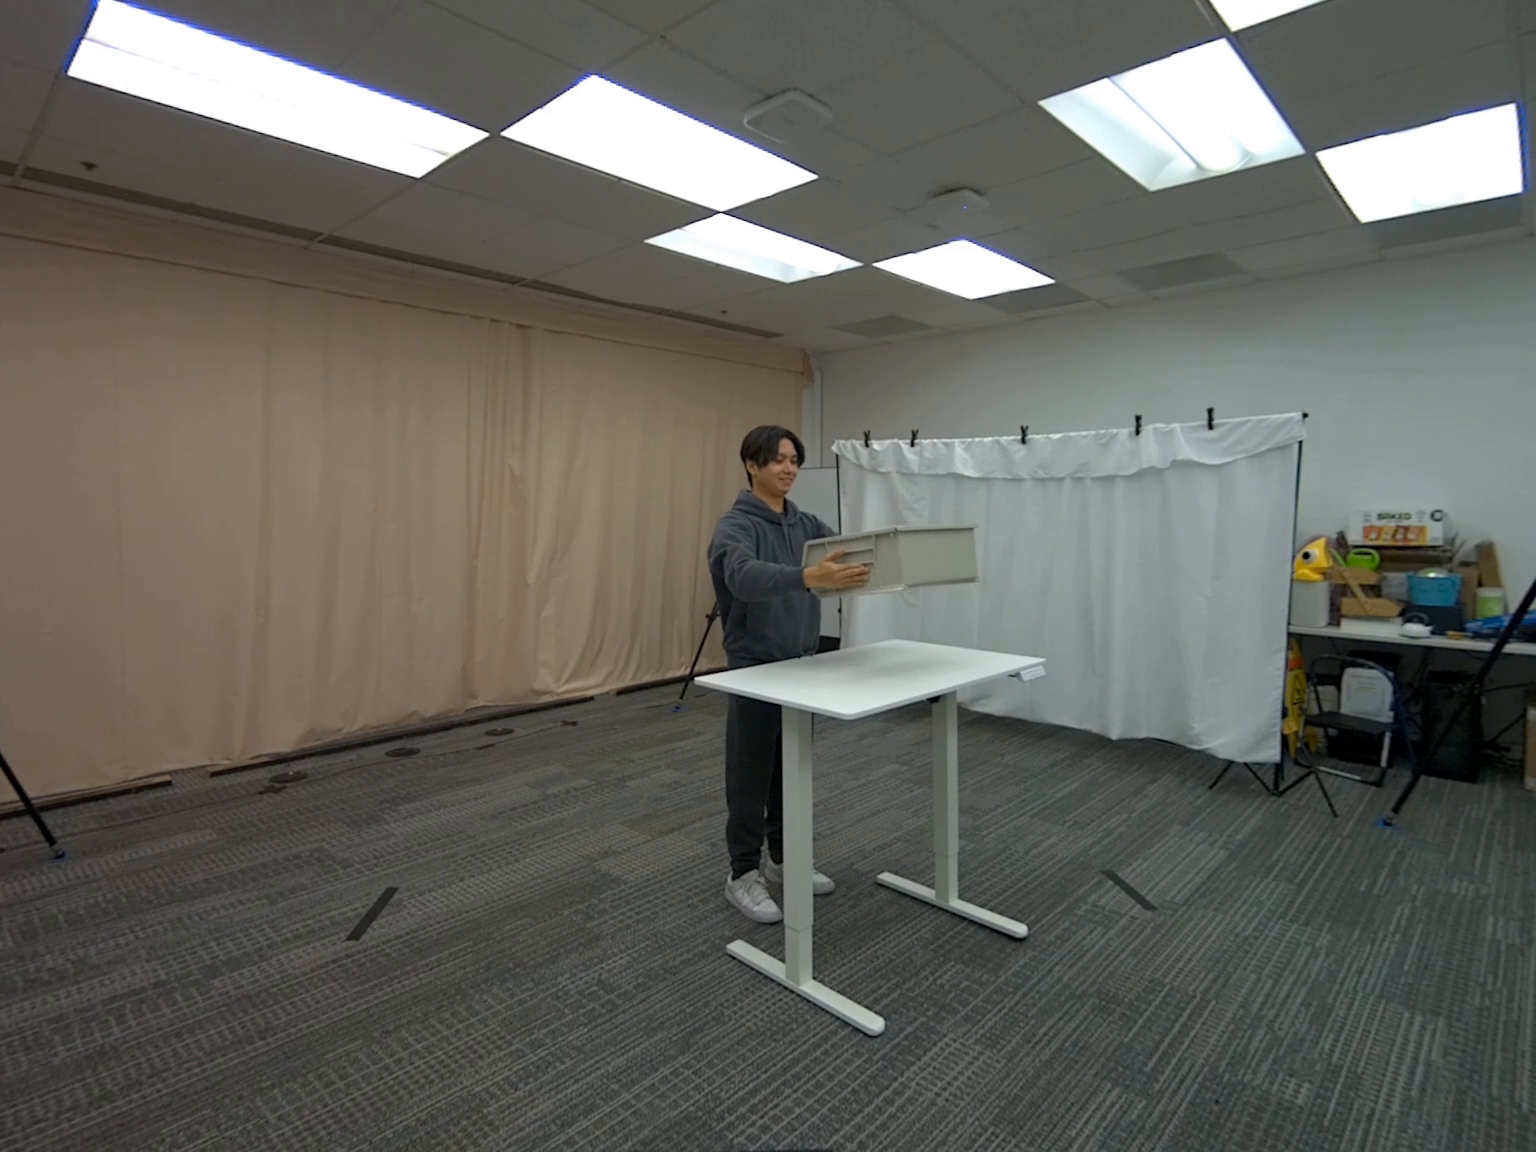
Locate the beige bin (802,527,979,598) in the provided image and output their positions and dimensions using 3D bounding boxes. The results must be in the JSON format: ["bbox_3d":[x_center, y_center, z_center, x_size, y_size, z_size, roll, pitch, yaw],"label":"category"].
[{"bbox_3d":[0.381,-0.039,2.590,0.409,0.189,0.388,-4,-1,-43],"label":"beige bin"}]
